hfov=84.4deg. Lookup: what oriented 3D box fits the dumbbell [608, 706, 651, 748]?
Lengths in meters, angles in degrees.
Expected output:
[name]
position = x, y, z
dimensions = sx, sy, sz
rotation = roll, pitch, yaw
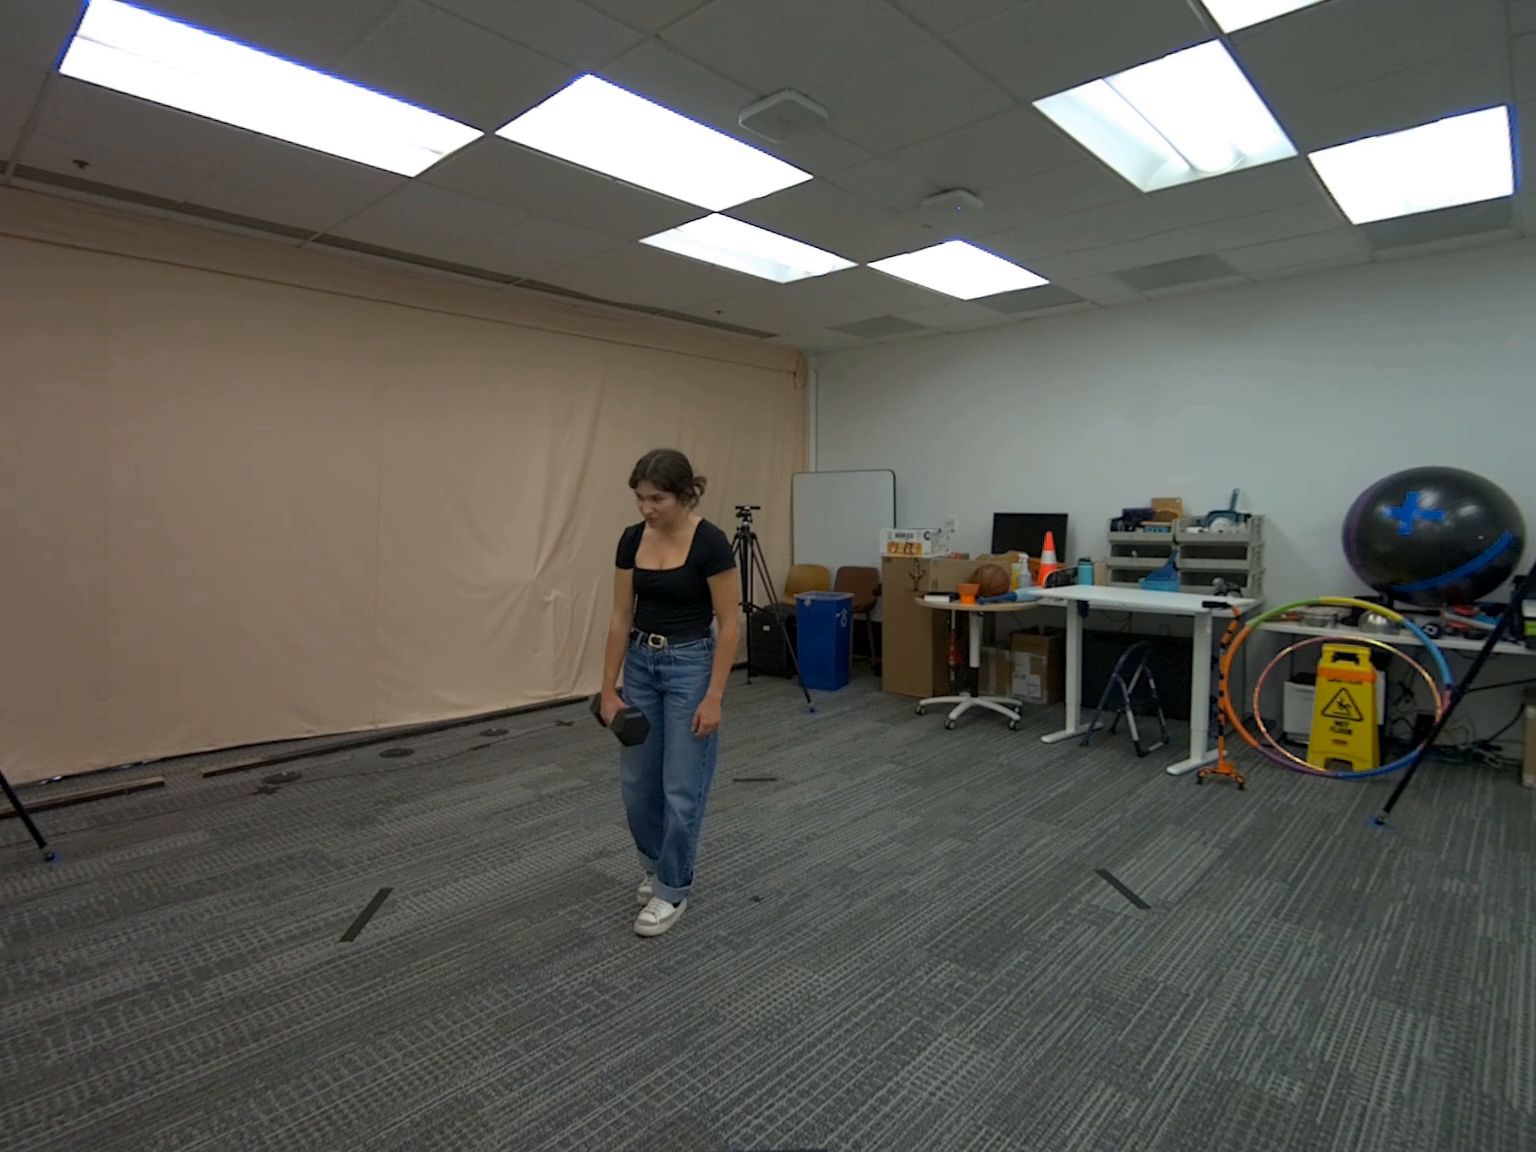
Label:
[dumbbell]
position = -0.488, 0.468, 2.794
dimensions = 0.108, 0.120, 0.303
rotation = -38, 25, -22
